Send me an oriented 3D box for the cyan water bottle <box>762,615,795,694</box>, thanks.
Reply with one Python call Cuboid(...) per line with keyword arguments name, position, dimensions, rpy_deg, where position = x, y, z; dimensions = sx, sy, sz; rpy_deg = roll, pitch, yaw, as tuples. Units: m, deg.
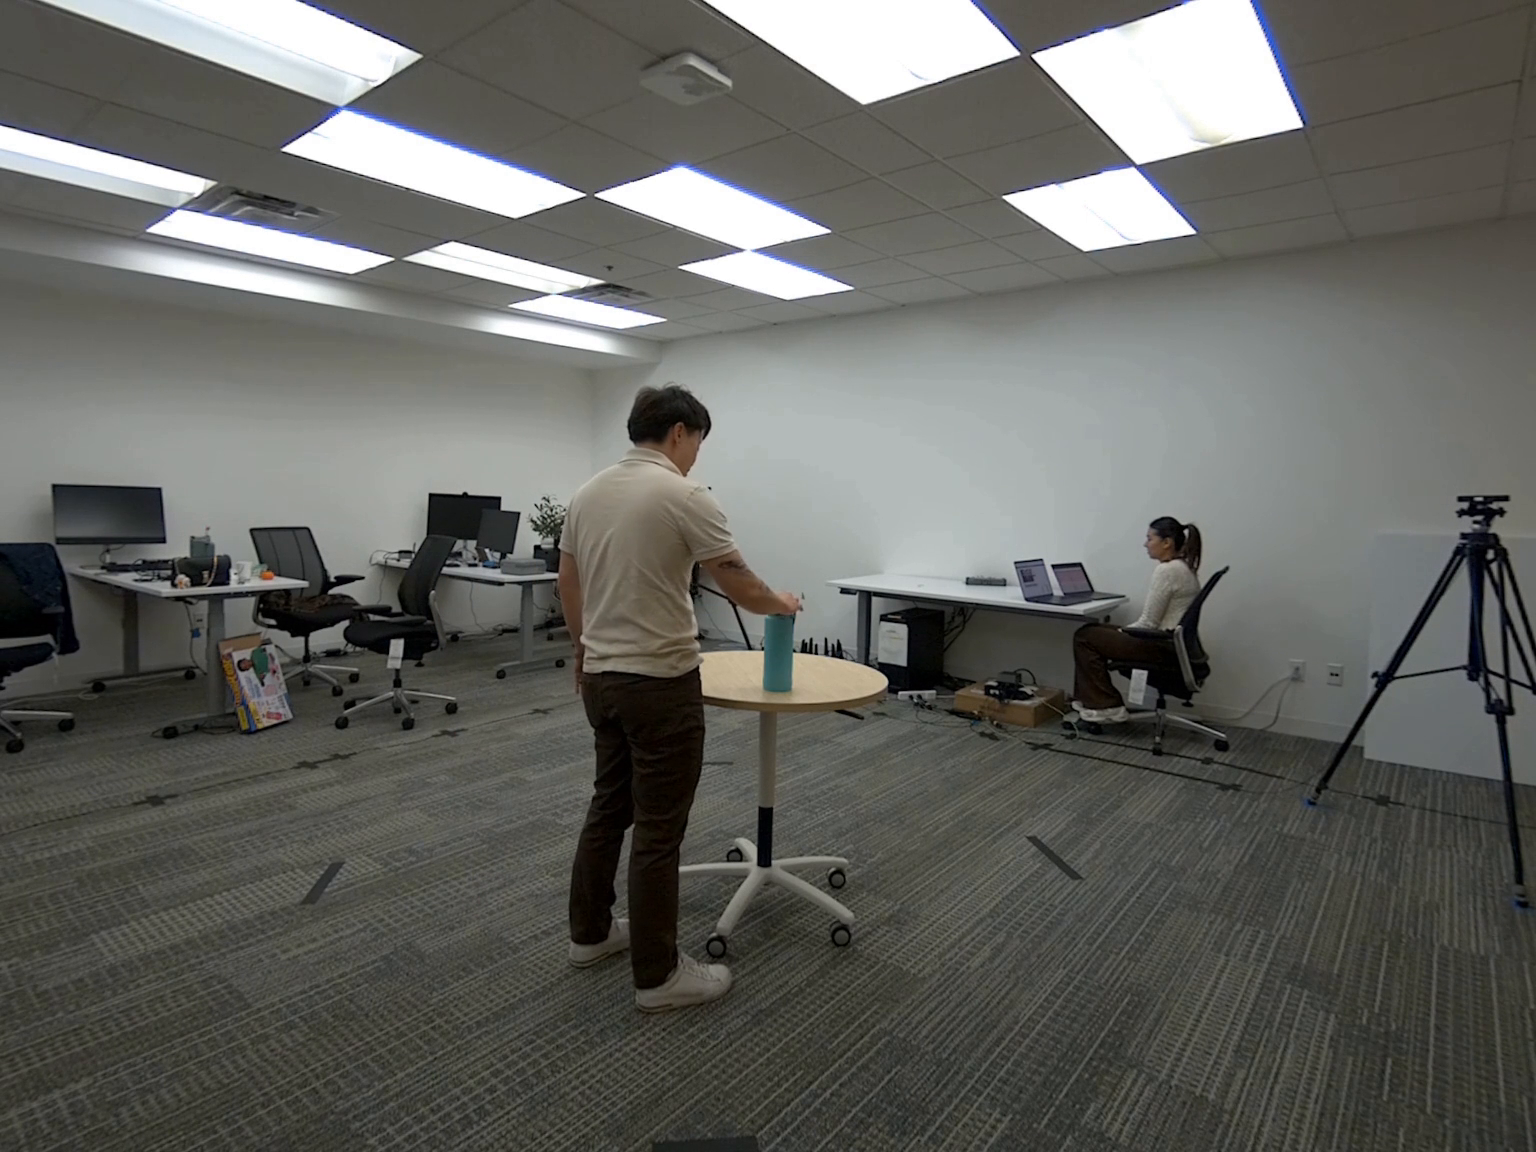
Cuboid(name="cyan water bottle", position=(0.027, 0.201, 2.578), dimensions=(0.092, 0.283, 0.093), rpy_deg=(0, 2, -2))
